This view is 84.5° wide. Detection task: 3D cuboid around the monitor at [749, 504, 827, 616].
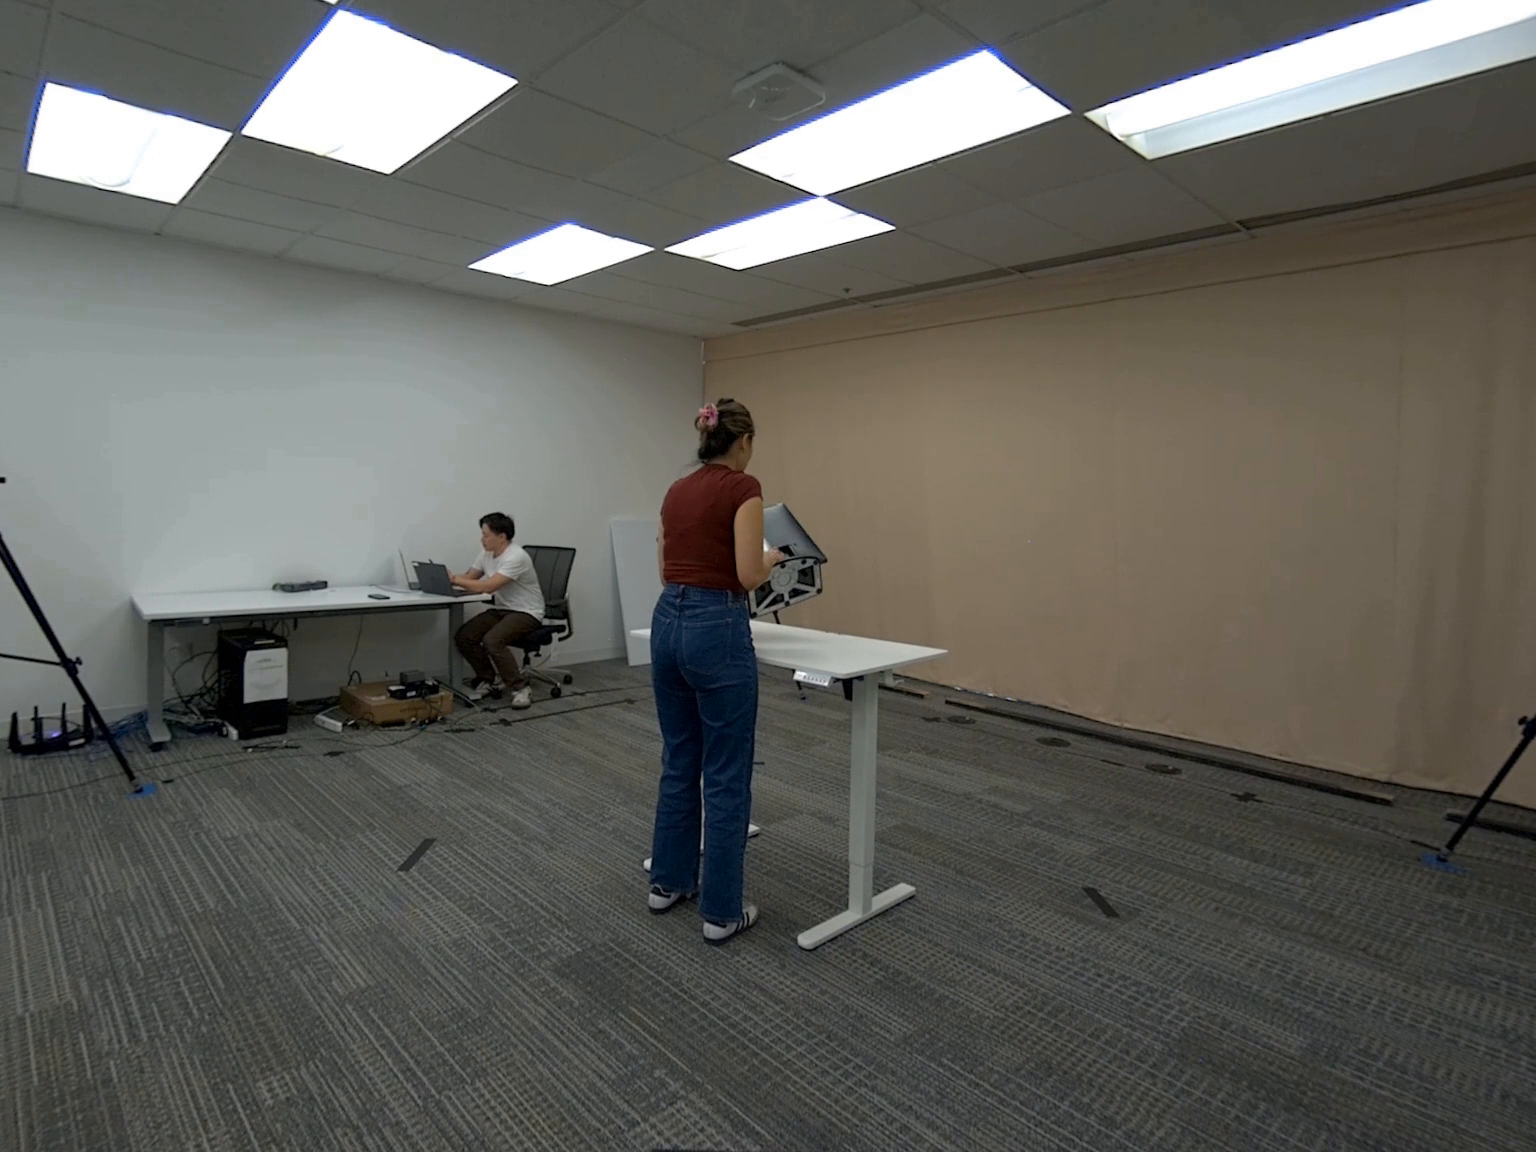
[{"bbox_3d":[-0.061,-0.074,3.011,0.533,0.183,0.539,-17,34,-21],"label":"monitor"}]
